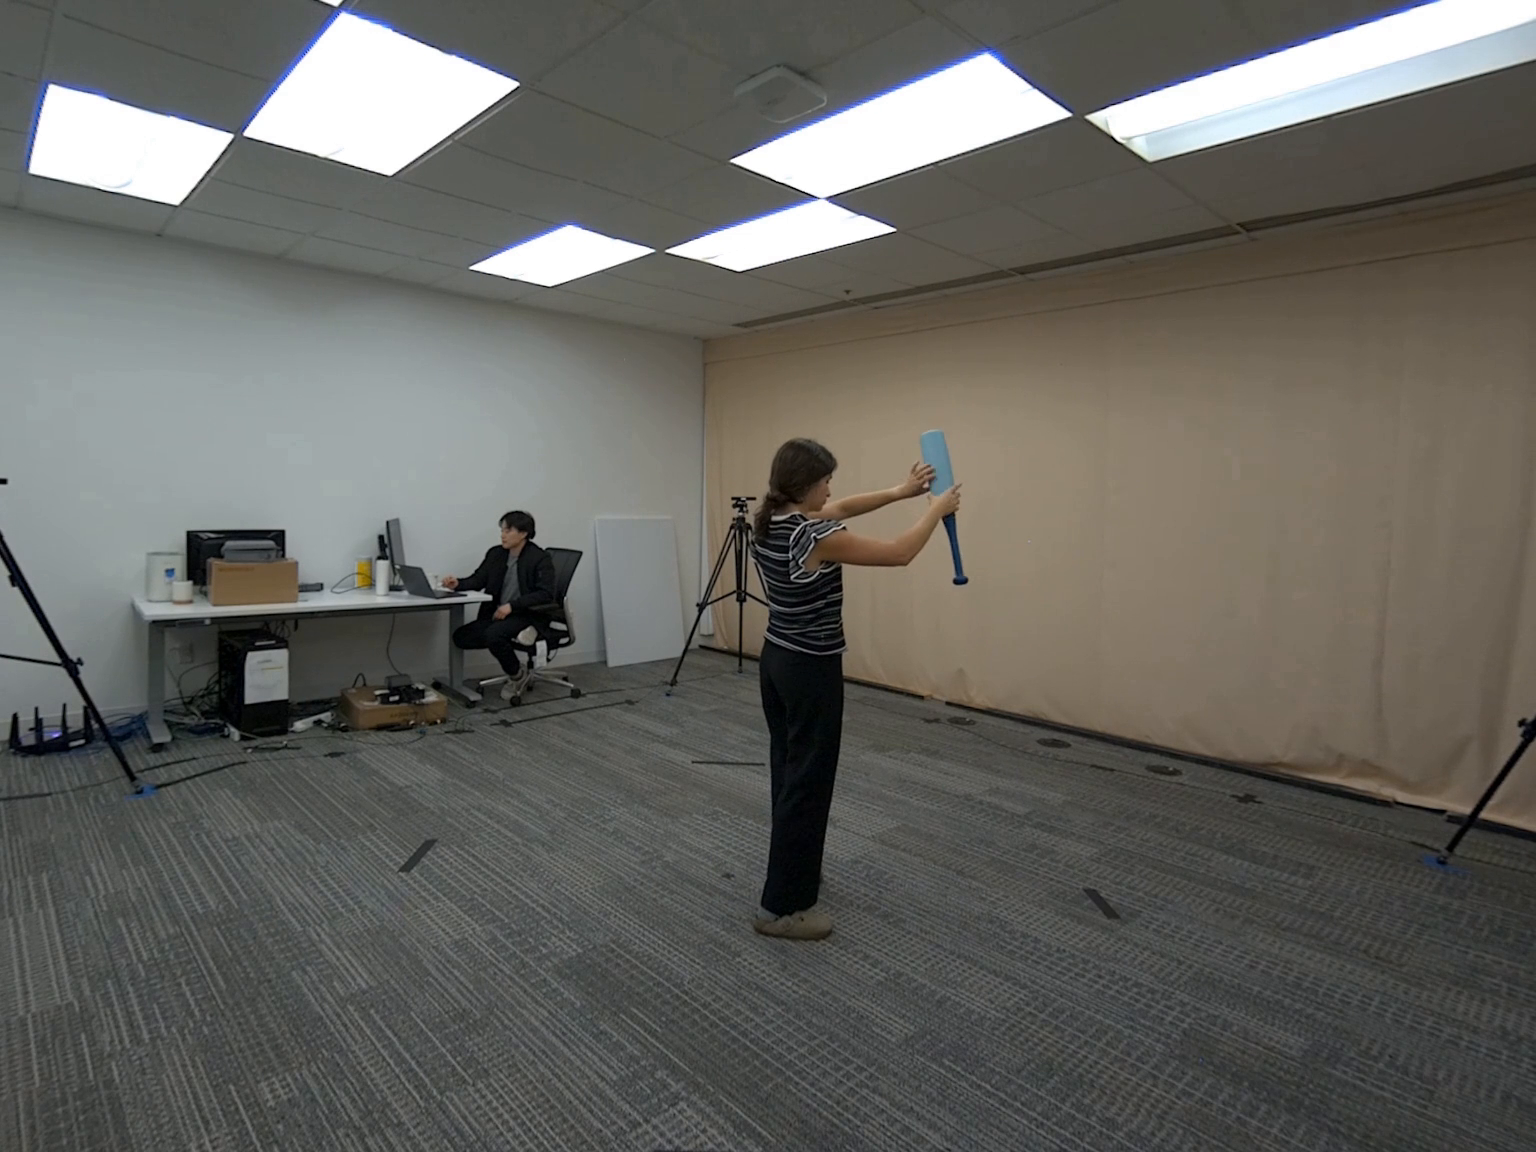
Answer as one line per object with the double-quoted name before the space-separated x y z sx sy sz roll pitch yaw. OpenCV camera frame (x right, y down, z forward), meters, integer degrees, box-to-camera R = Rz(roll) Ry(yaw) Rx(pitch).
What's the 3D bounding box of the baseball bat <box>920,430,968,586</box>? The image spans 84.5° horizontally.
"baseball bat" 0.599 -0.238 2.840 0.089 0.551 0.088 -7 -18 -4
